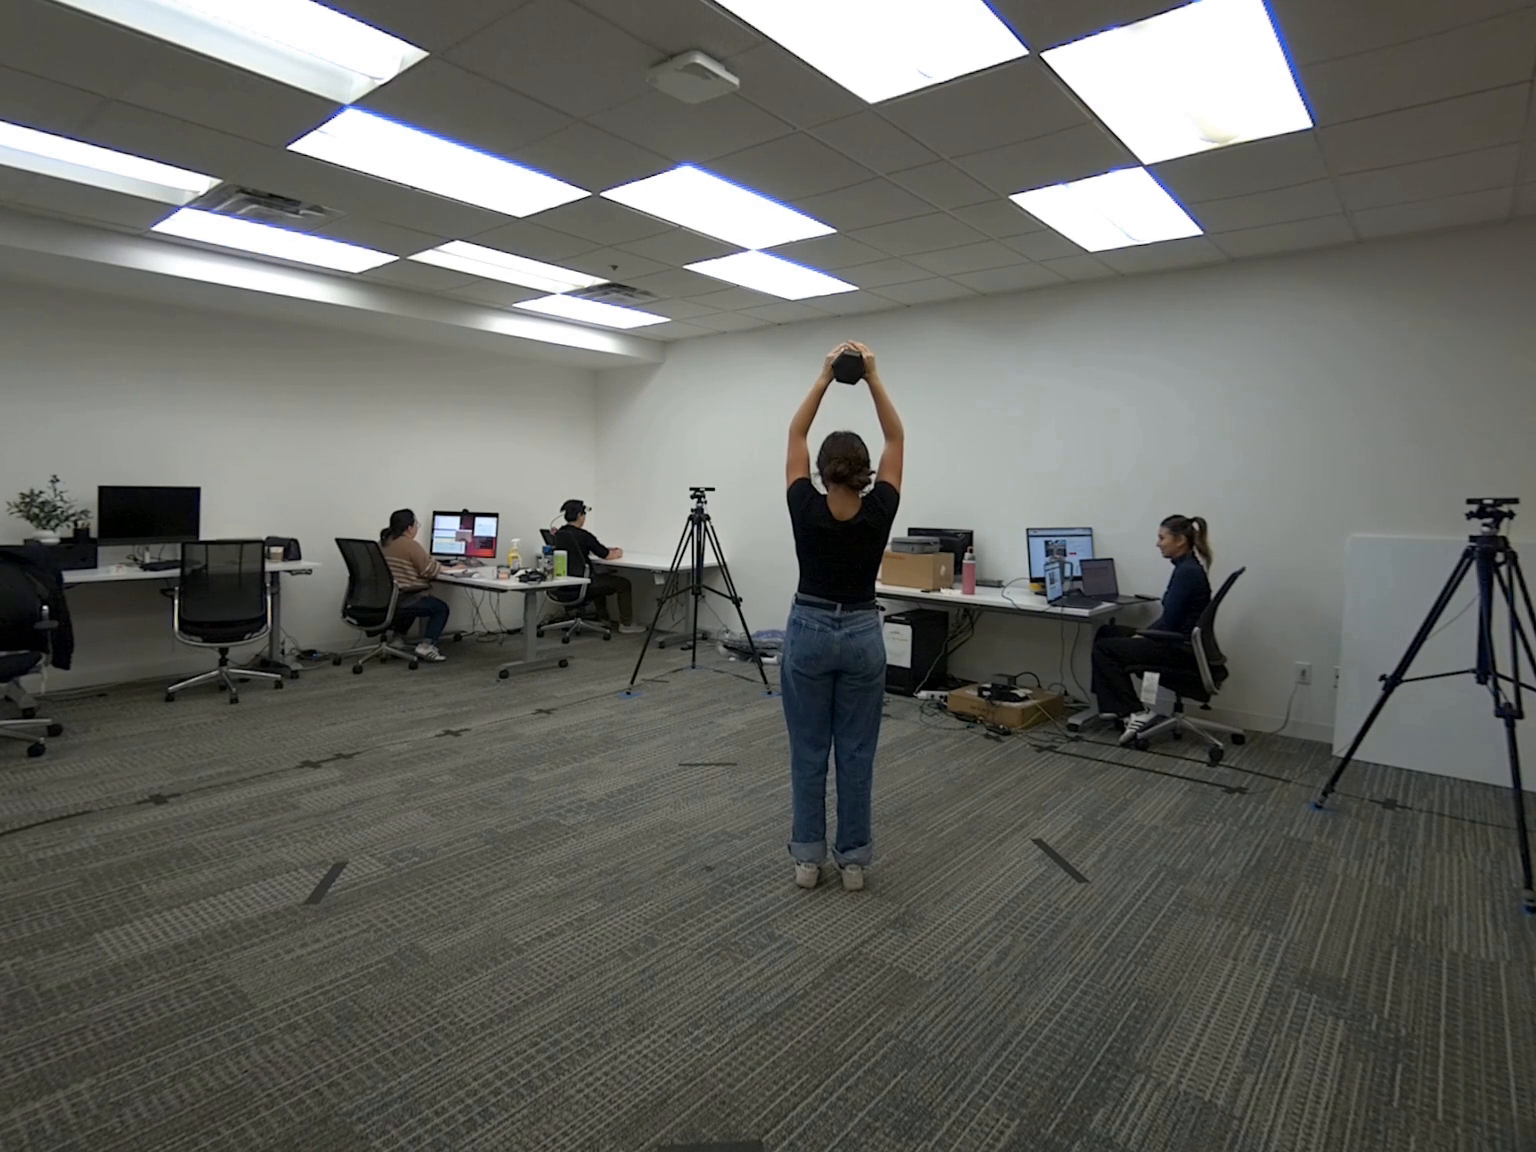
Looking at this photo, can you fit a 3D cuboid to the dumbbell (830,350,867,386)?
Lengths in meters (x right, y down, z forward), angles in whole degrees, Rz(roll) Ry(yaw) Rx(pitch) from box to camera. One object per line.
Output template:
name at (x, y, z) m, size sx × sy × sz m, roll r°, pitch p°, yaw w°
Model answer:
dumbbell at (0.276, -0.738, 2.940) m, size 0.110 × 0.120 × 0.296 m, roll -18°, pitch 18°, yaw 15°
